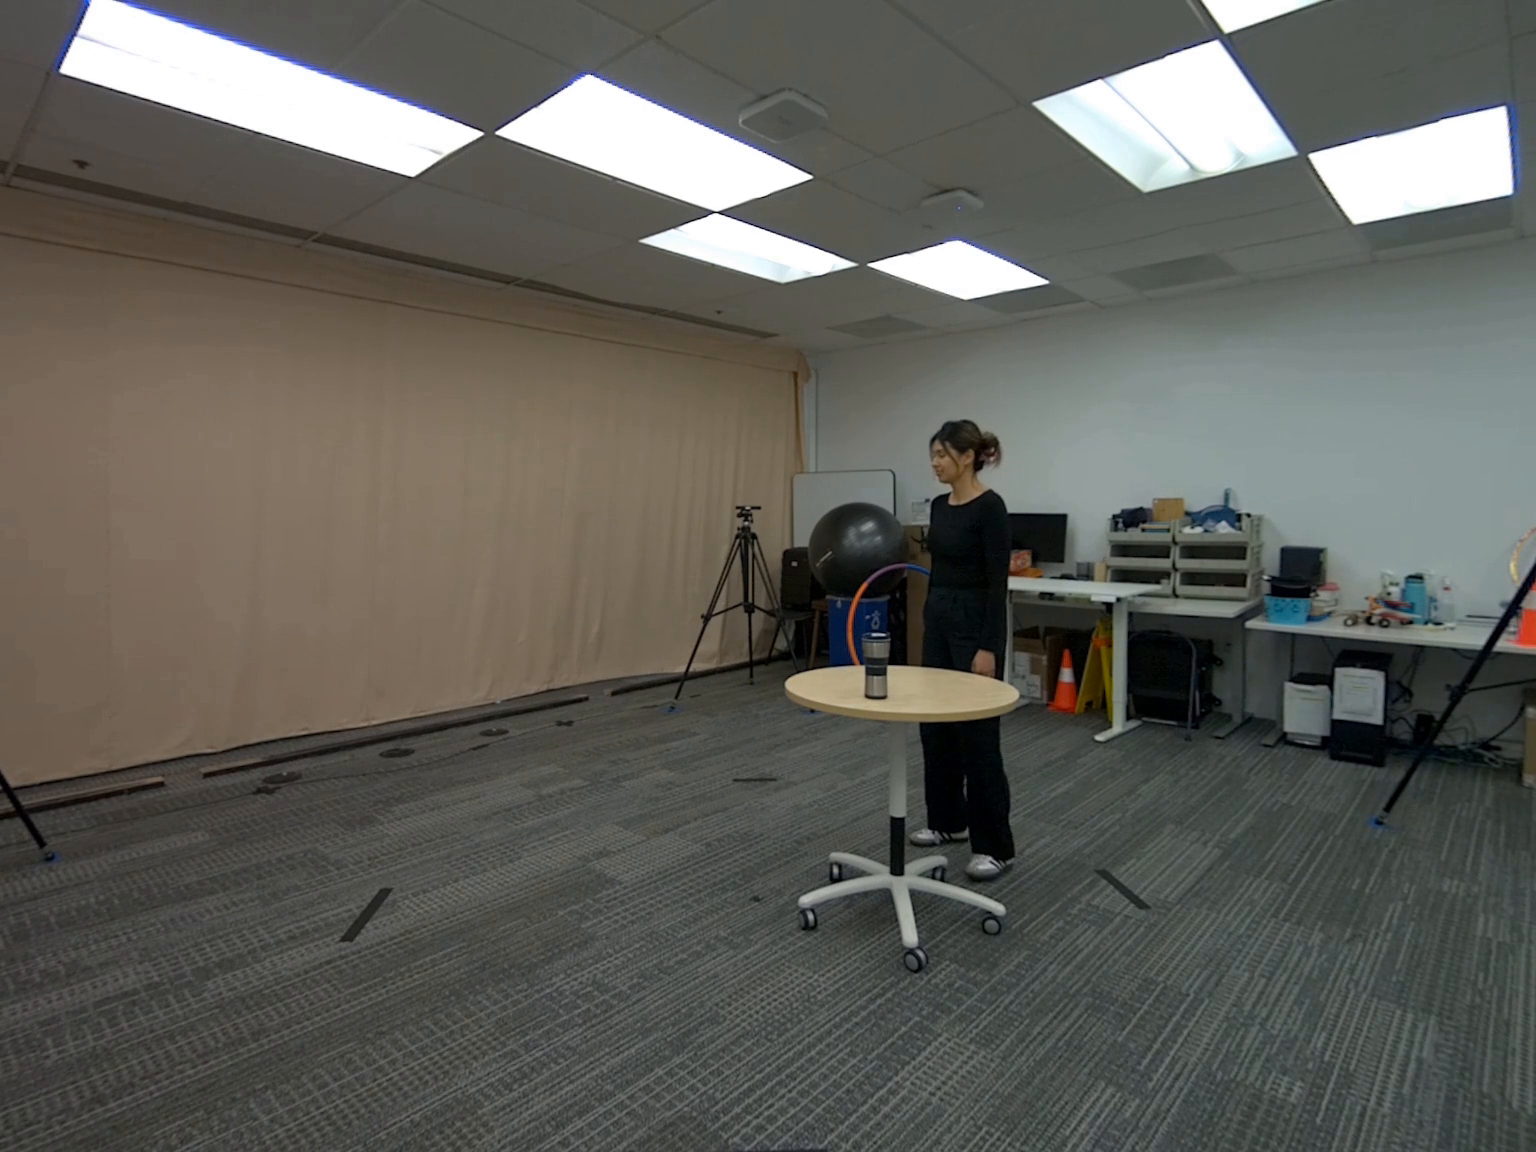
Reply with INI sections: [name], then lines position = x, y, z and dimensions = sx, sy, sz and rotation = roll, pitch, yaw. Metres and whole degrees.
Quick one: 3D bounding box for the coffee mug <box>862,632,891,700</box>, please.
[coffee mug]
position = 0.361, 0.281, 2.670
dimensions = 0.119, 0.202, 0.090
rotation = -6, 3, -33
